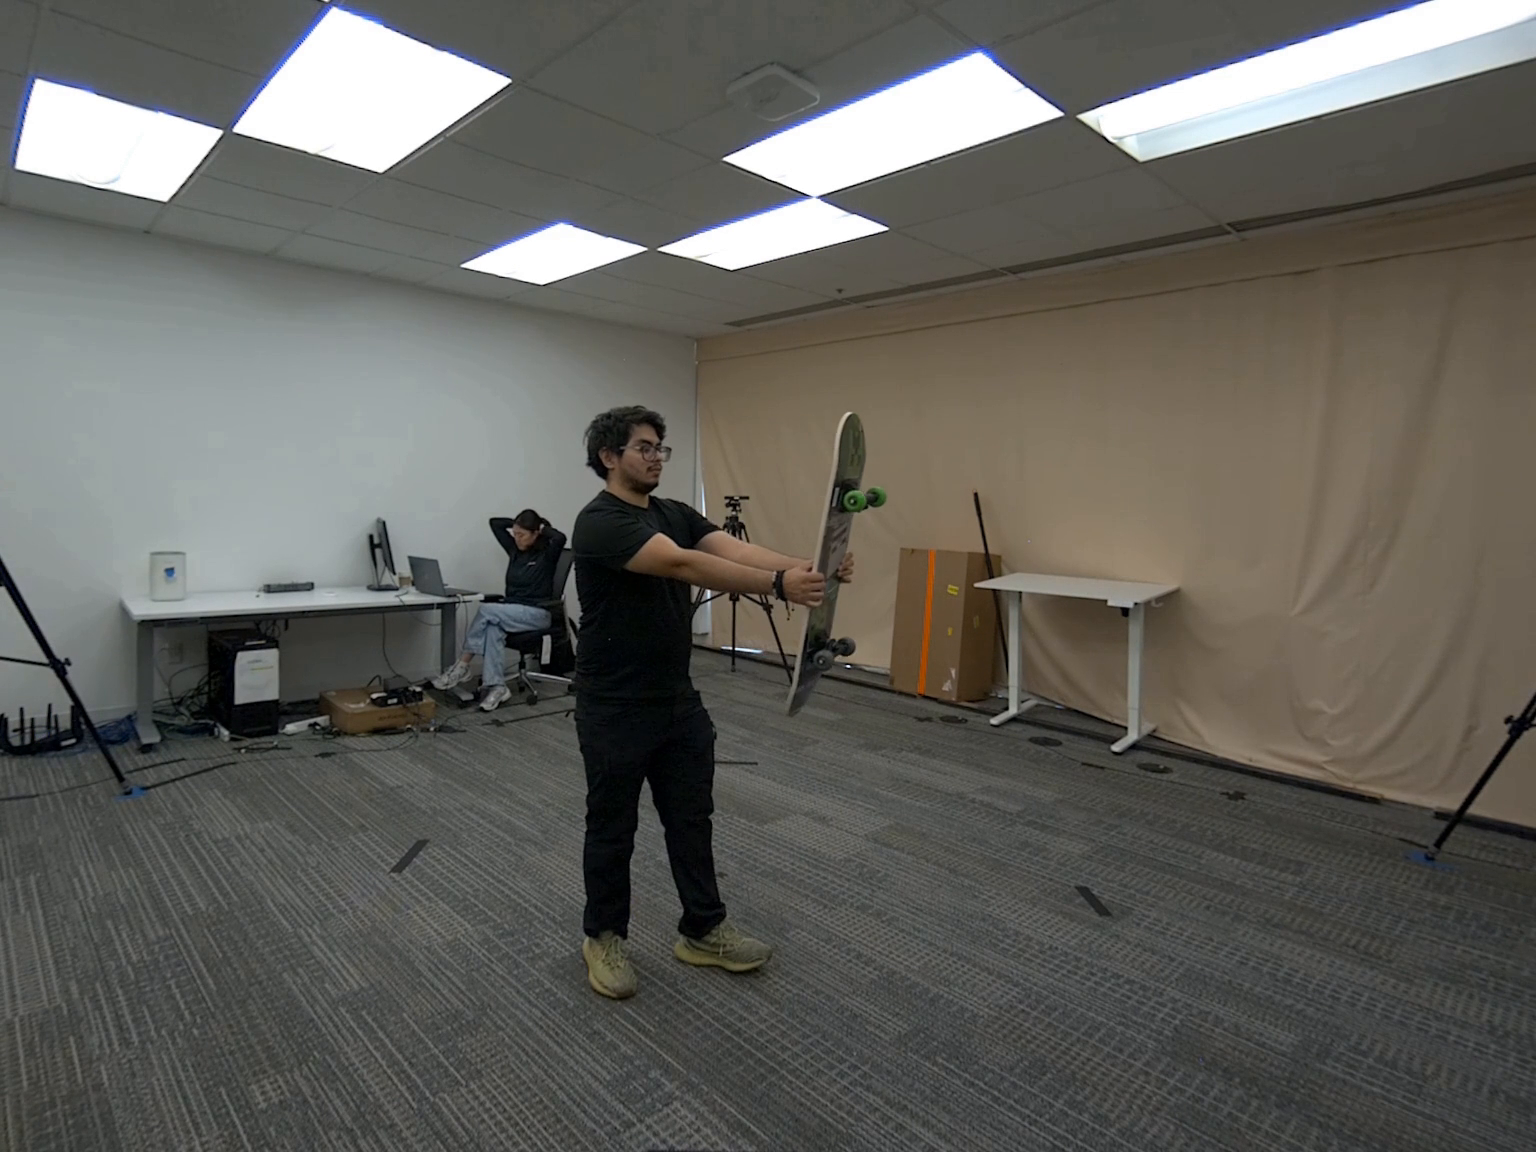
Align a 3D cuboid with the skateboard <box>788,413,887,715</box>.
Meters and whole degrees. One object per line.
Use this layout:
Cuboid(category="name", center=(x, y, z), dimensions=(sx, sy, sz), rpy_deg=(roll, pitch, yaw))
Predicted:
Cuboid(category="skateboard", center=(0.170, -0.001, 2.079), dimensions=(0.113, 0.780, 0.190), rpy_deg=(16, 12, 23))
